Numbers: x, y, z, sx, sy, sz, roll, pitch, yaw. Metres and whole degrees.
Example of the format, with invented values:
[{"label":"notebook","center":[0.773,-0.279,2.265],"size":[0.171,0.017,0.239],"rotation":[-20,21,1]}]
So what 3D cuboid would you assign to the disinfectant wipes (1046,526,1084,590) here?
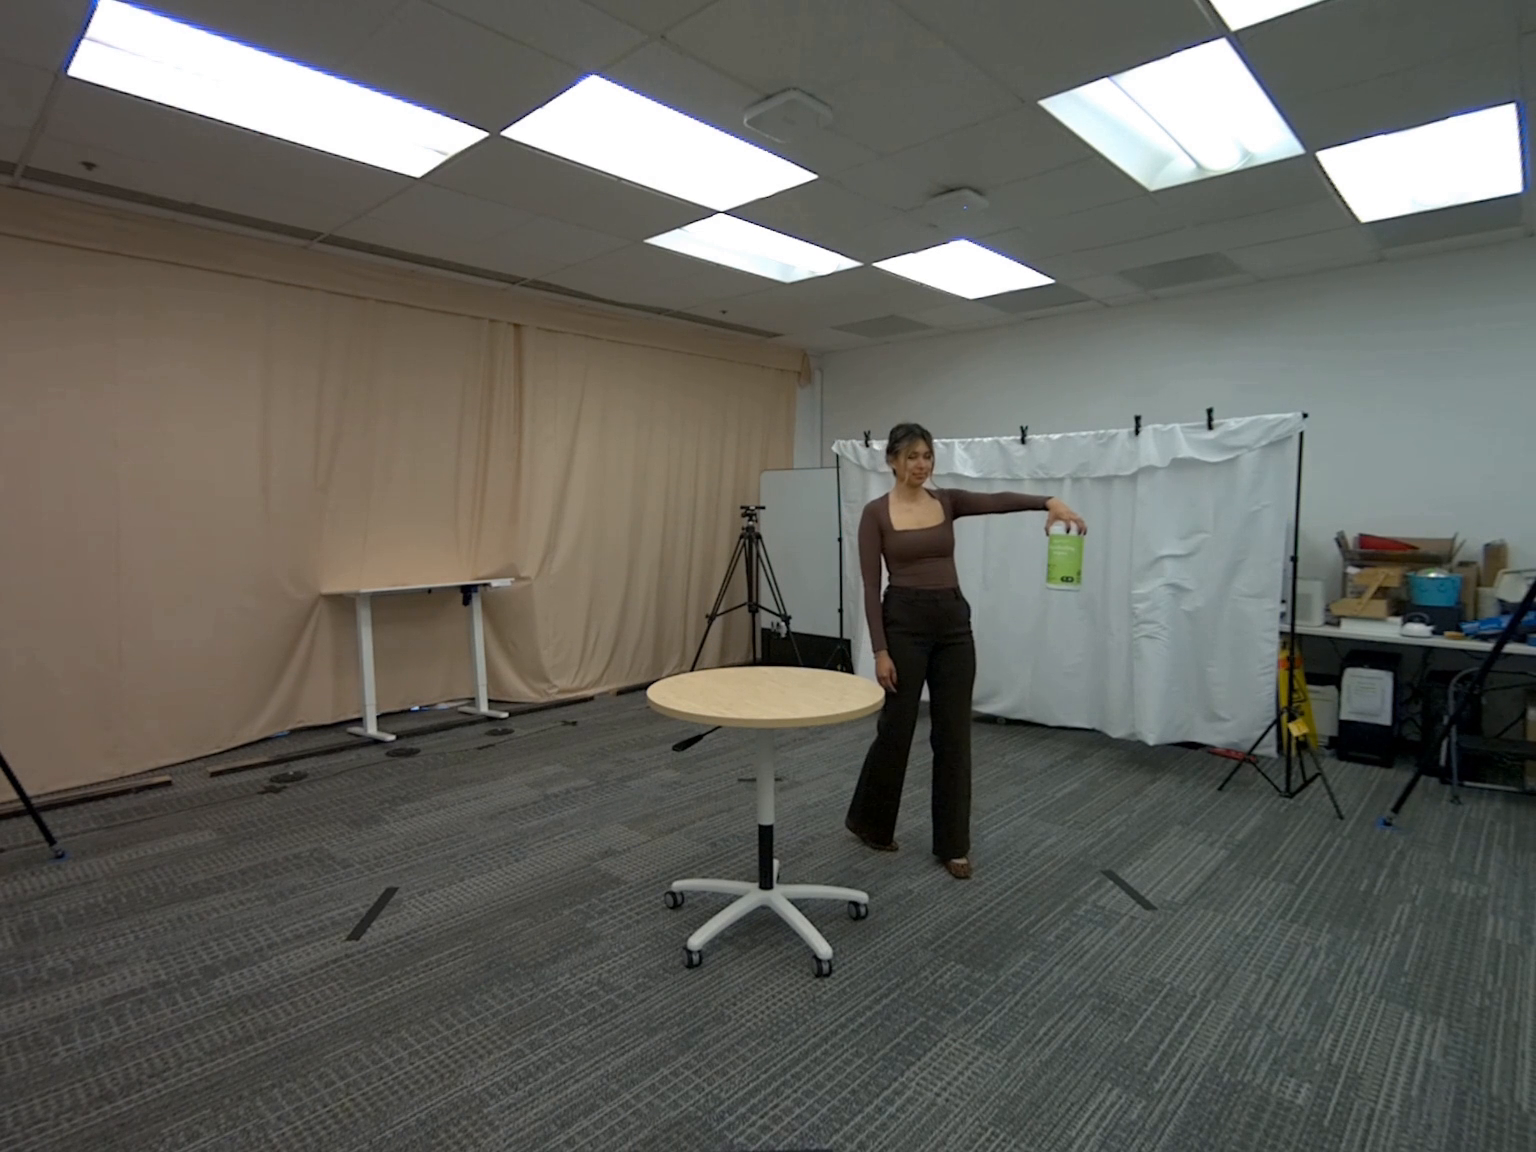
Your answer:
[{"label":"disinfectant wipes","center":[1.008,-0.058,2.847],"size":[0.118,0.217,0.118],"rotation":[0,4,-2]}]
